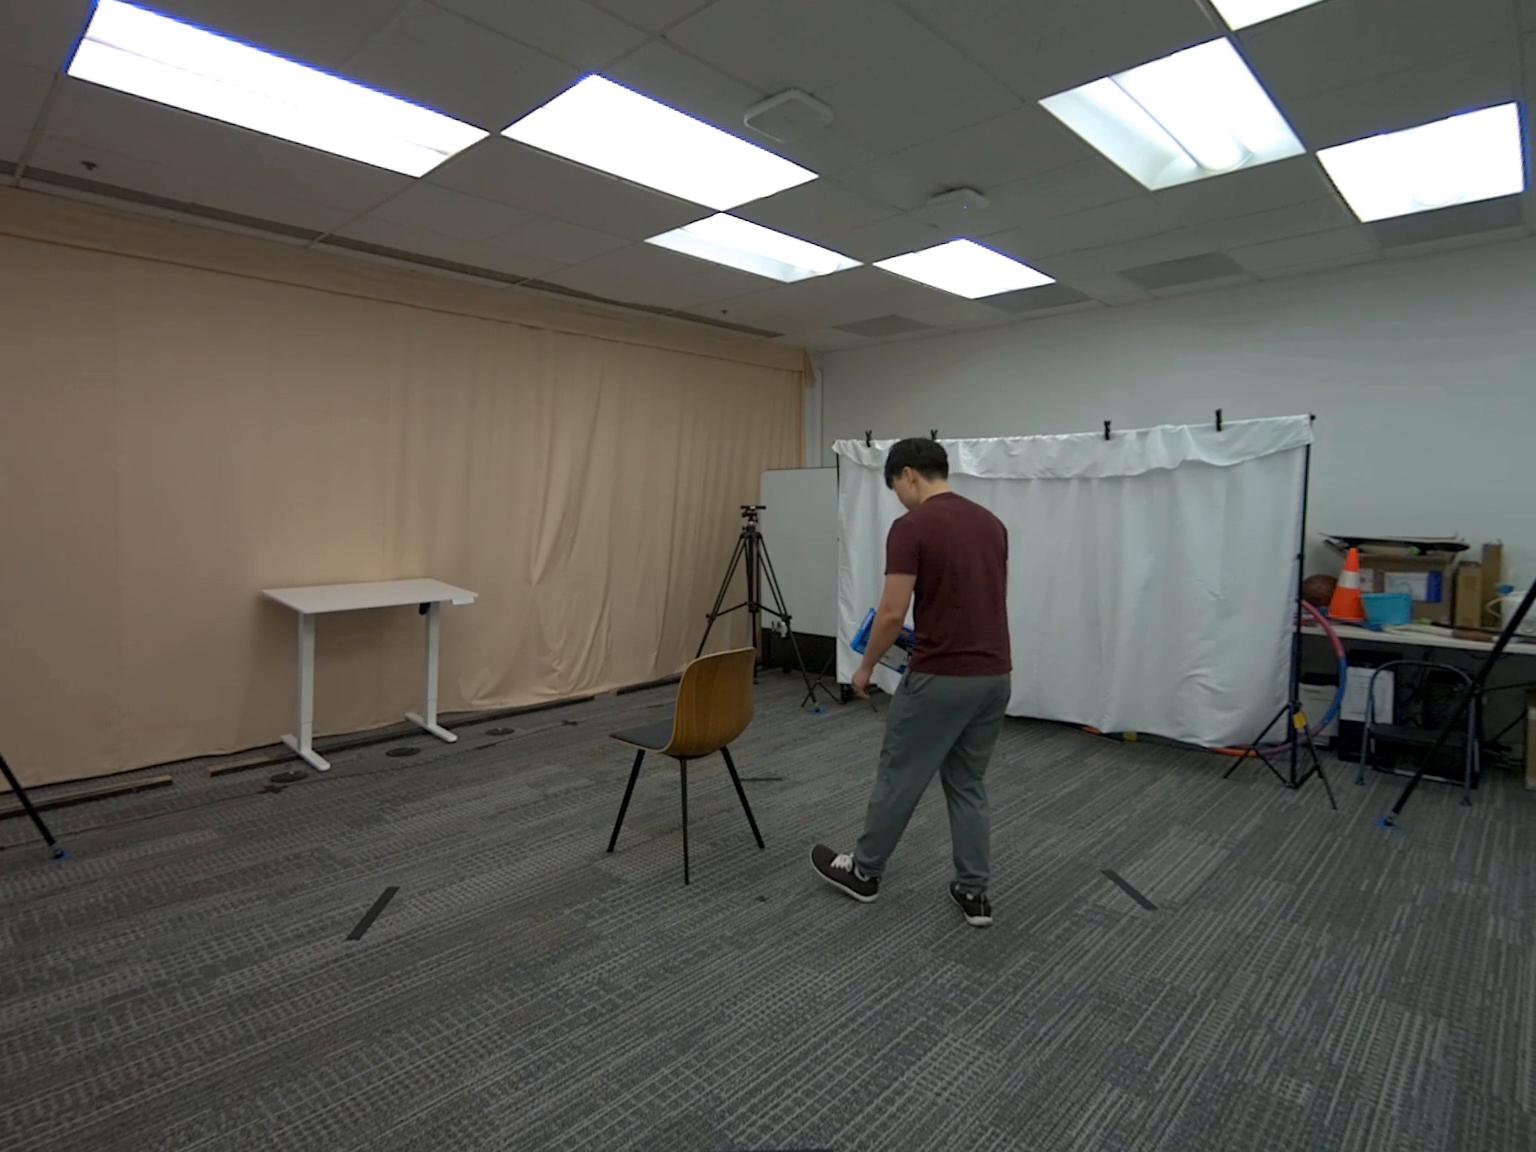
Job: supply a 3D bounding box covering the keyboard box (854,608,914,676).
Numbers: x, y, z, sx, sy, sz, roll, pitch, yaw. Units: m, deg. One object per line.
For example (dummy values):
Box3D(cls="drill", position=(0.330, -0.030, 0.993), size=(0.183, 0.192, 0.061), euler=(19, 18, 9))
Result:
Box3D(cls="keyboard box", position=(0.564, 0.298, 3.216), size=(0.431, 0.176, 0.060), euler=(26, 10, -10))
